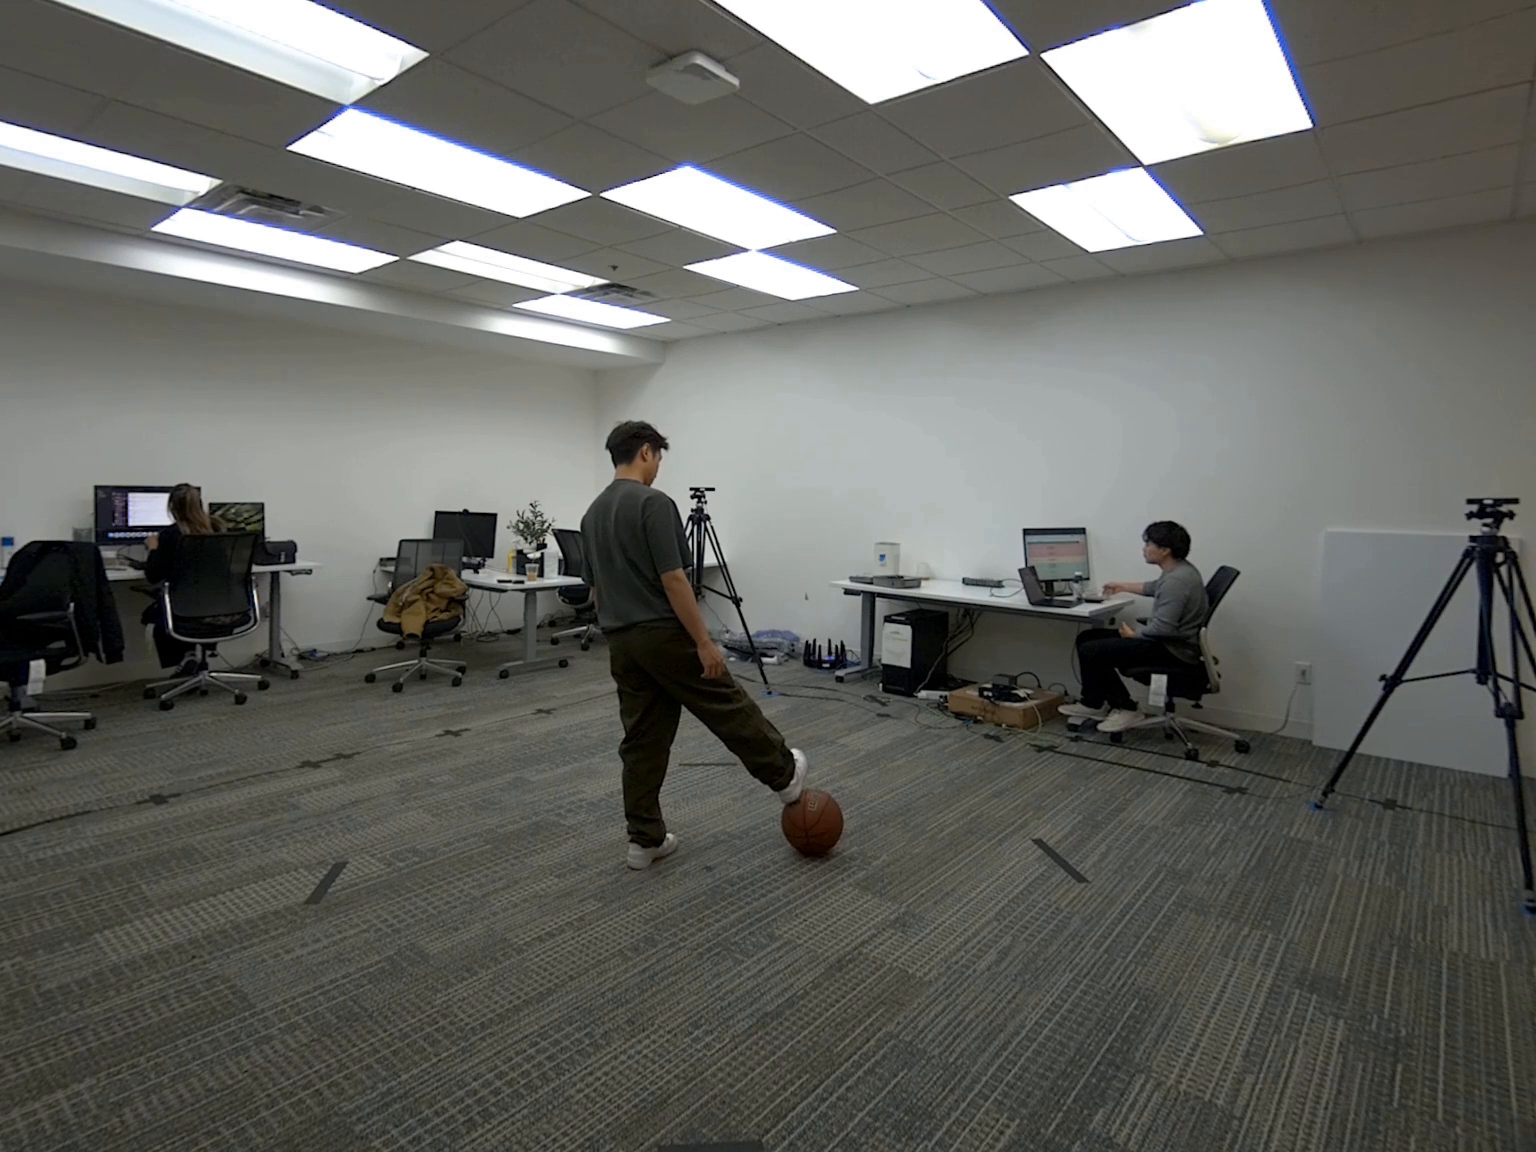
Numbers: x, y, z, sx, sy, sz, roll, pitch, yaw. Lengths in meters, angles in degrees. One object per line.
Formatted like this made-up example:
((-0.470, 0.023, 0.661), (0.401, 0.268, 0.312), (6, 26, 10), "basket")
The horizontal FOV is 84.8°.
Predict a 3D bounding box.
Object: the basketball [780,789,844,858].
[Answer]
((0.161, 0.946, 3.266), (0.235, 0.235, 0.237), (1, 4, -2), "basketball")
